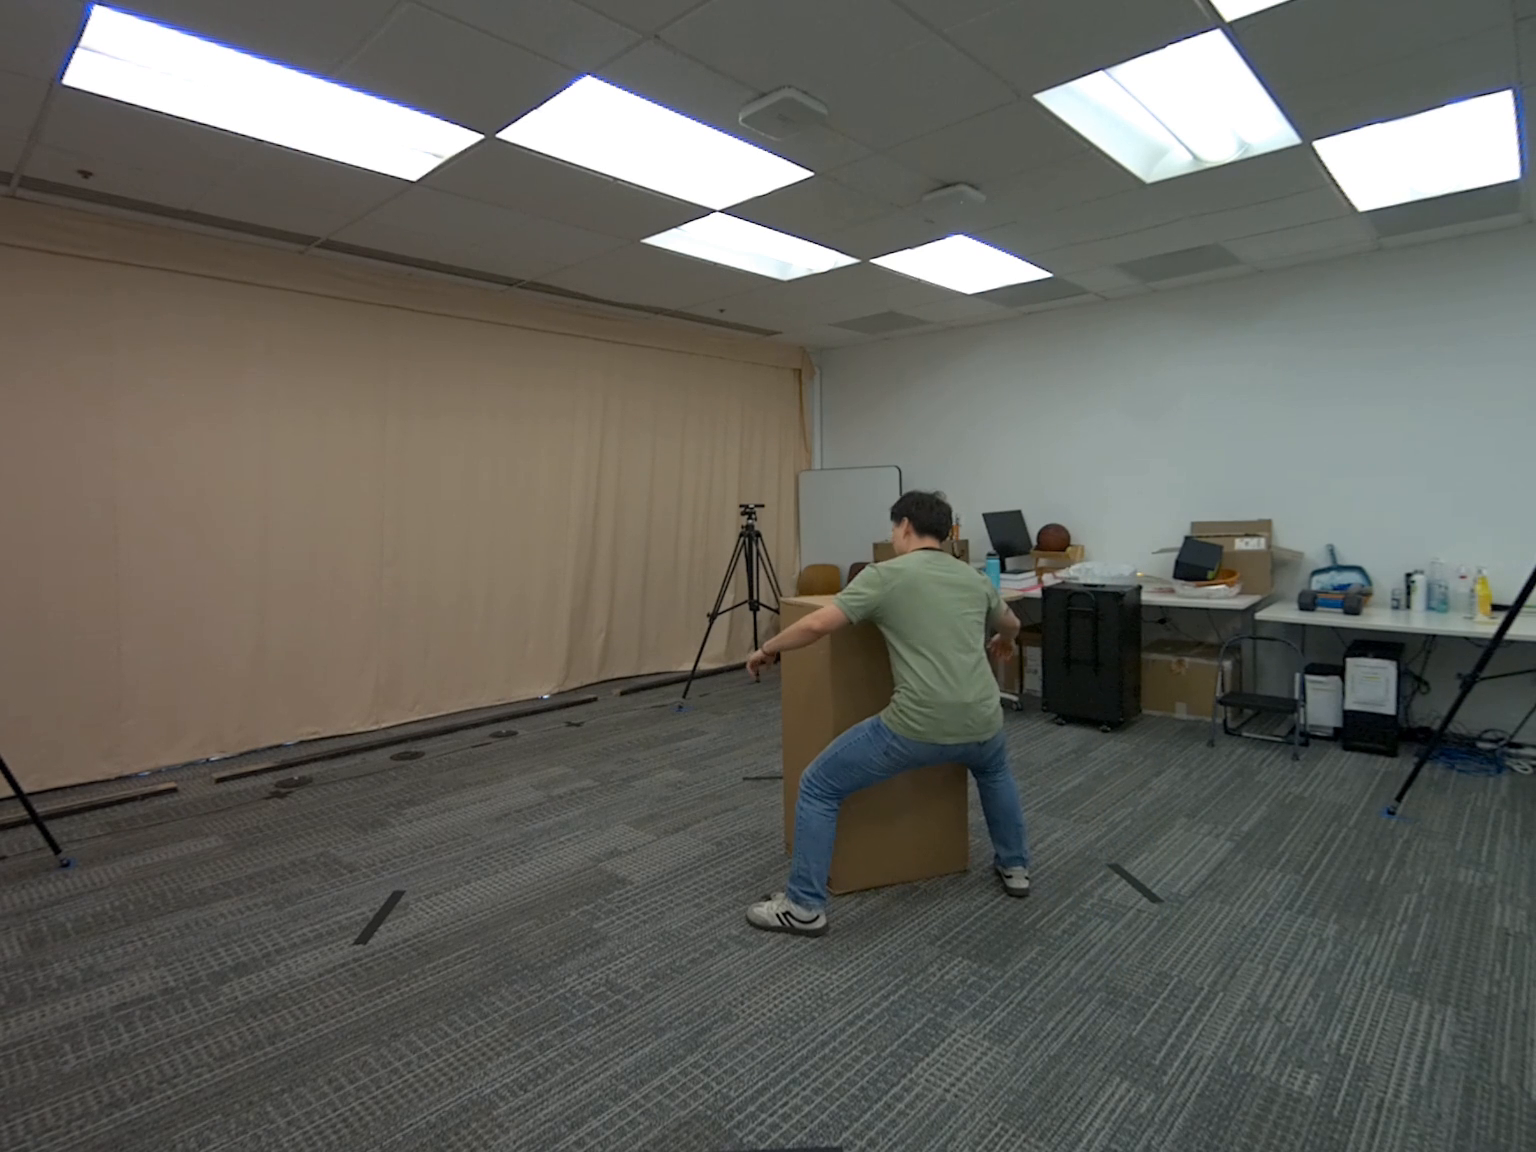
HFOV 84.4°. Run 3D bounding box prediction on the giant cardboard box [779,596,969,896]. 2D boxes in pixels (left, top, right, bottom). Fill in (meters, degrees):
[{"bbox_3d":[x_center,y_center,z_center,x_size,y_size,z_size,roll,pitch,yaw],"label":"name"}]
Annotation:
[{"bbox_3d":[0.398,0.598,3.253,0.566,1.024,0.436,-2,3,-21],"label":"giant cardboard box"}]
